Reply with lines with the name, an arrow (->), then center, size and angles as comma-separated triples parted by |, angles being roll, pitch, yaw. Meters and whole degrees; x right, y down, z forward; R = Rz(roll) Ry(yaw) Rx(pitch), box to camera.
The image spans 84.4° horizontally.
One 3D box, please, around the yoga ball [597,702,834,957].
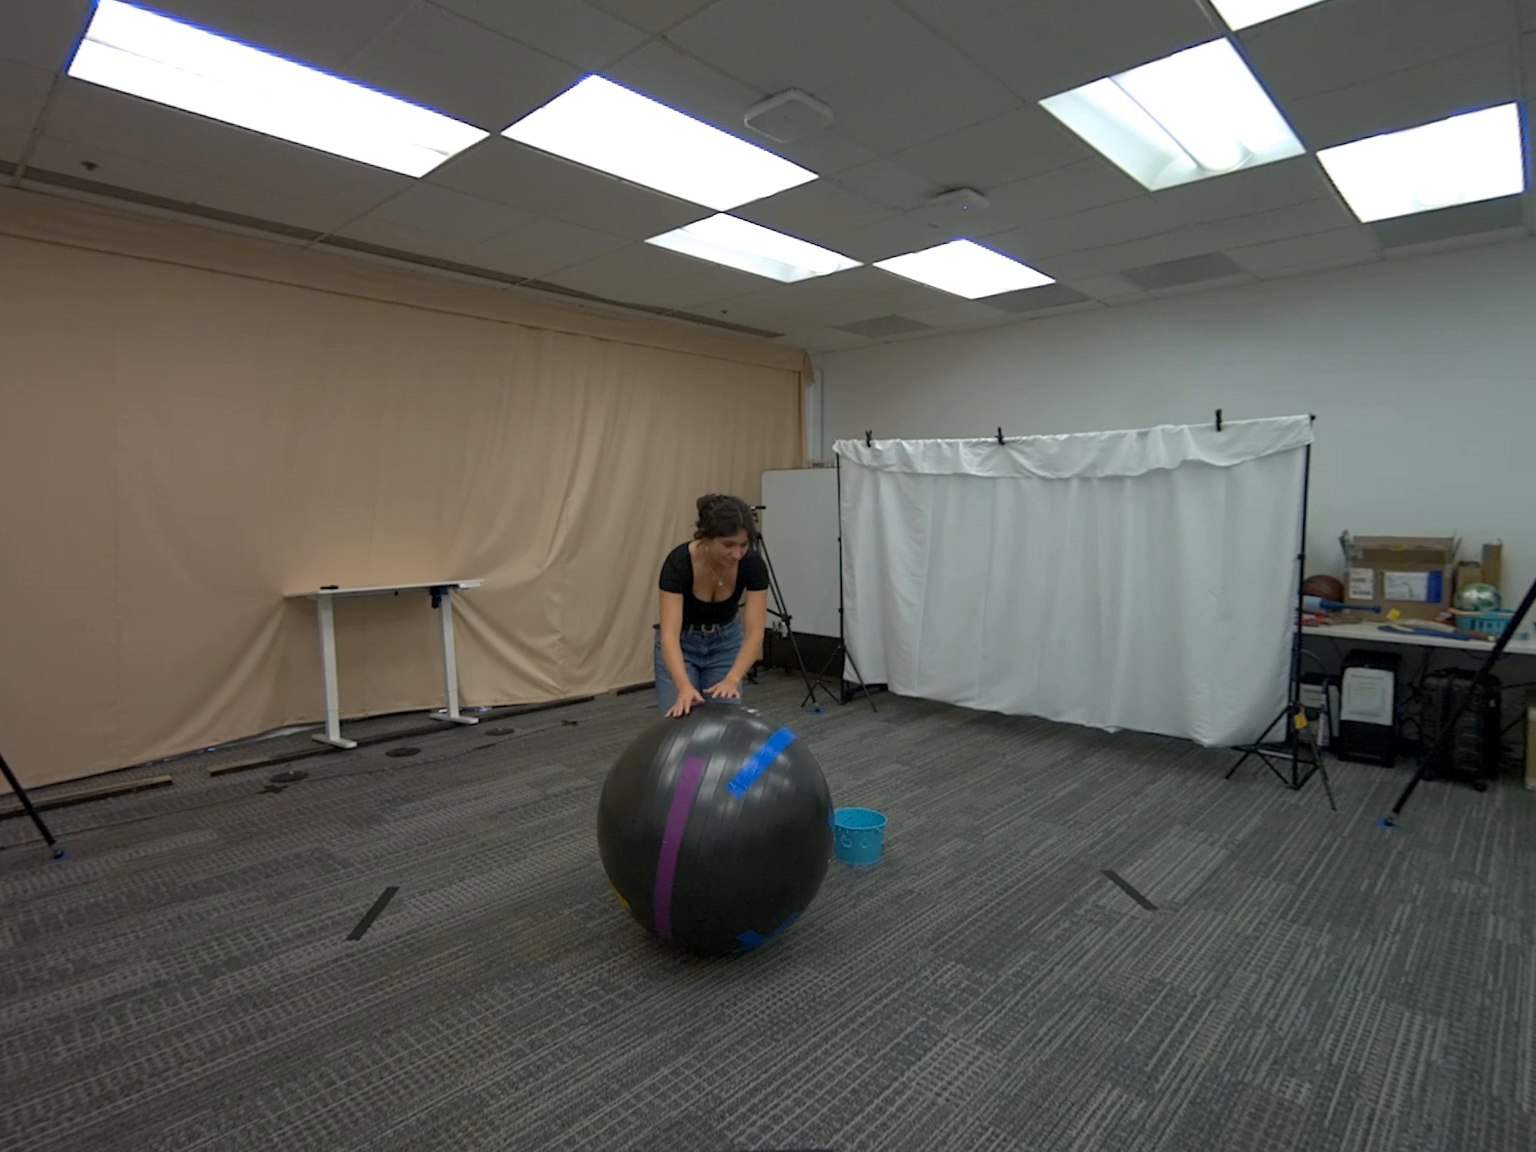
yoga ball -> -0.164, 0.799, 2.702 | 0.757, 0.756, 0.760 | 0, 4, -2
